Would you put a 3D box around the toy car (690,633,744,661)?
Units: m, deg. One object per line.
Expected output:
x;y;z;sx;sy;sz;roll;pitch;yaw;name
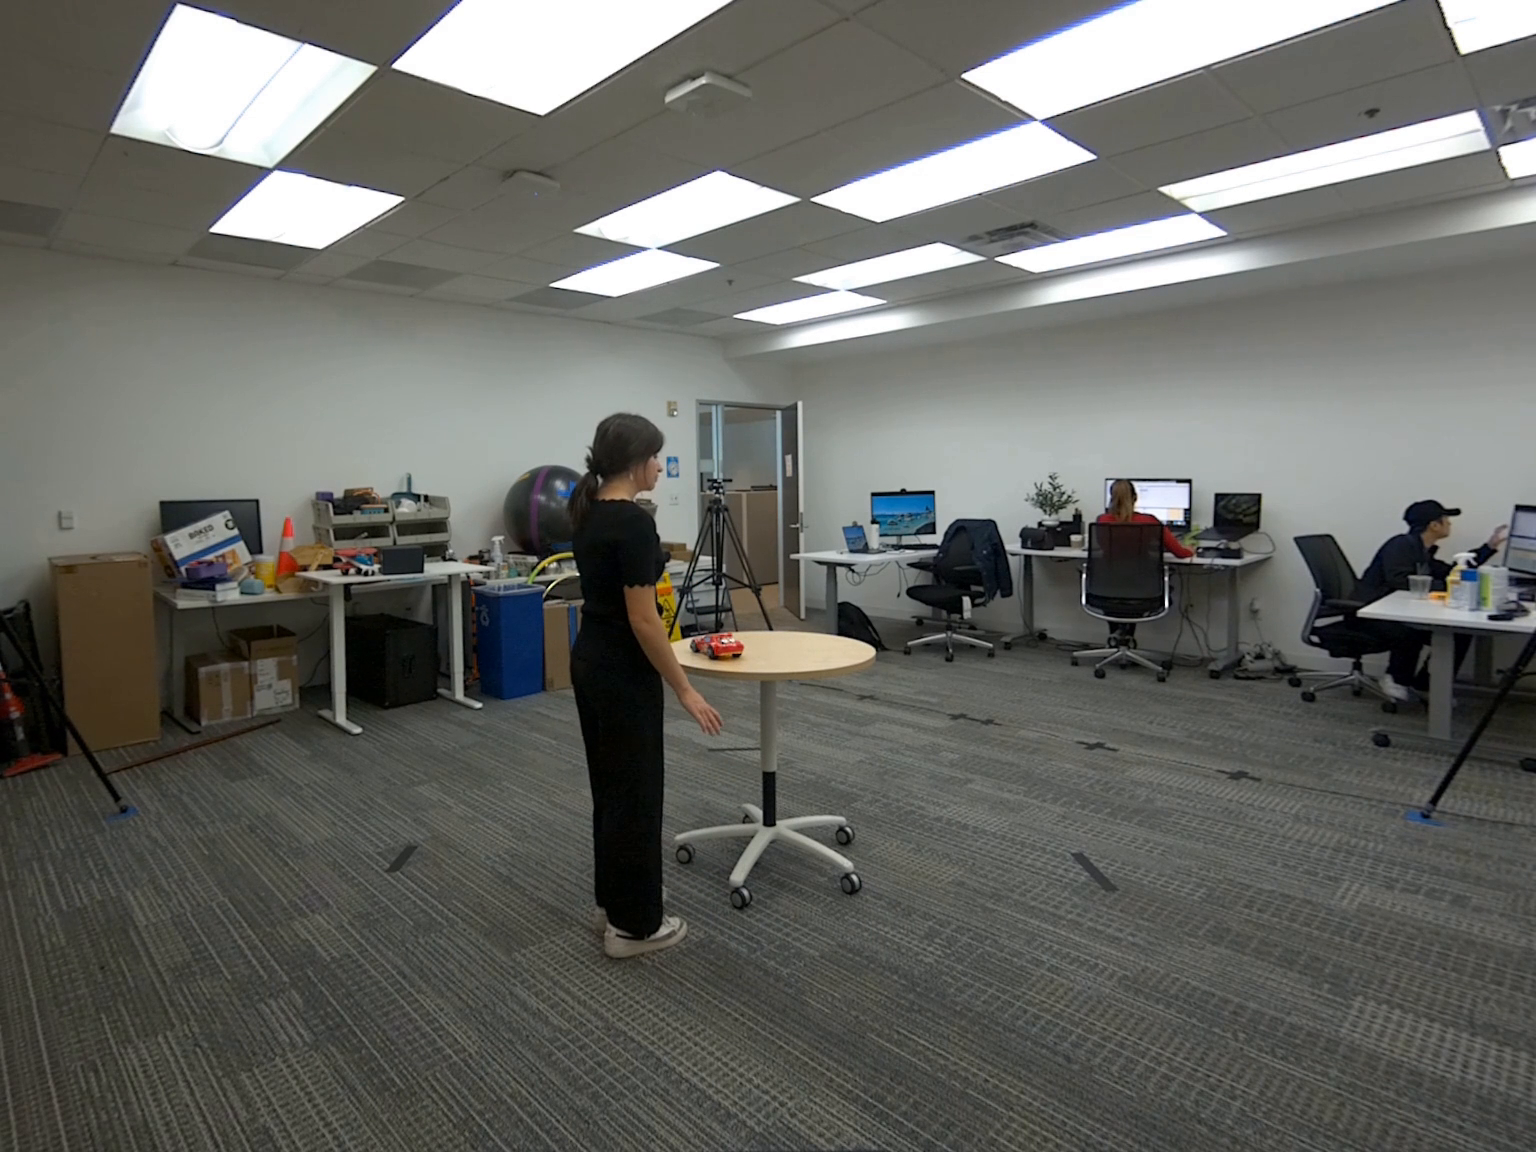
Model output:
-0.166;0.244;2.962;0.127;0.084;0.258;-3;-5;-26;toy car
